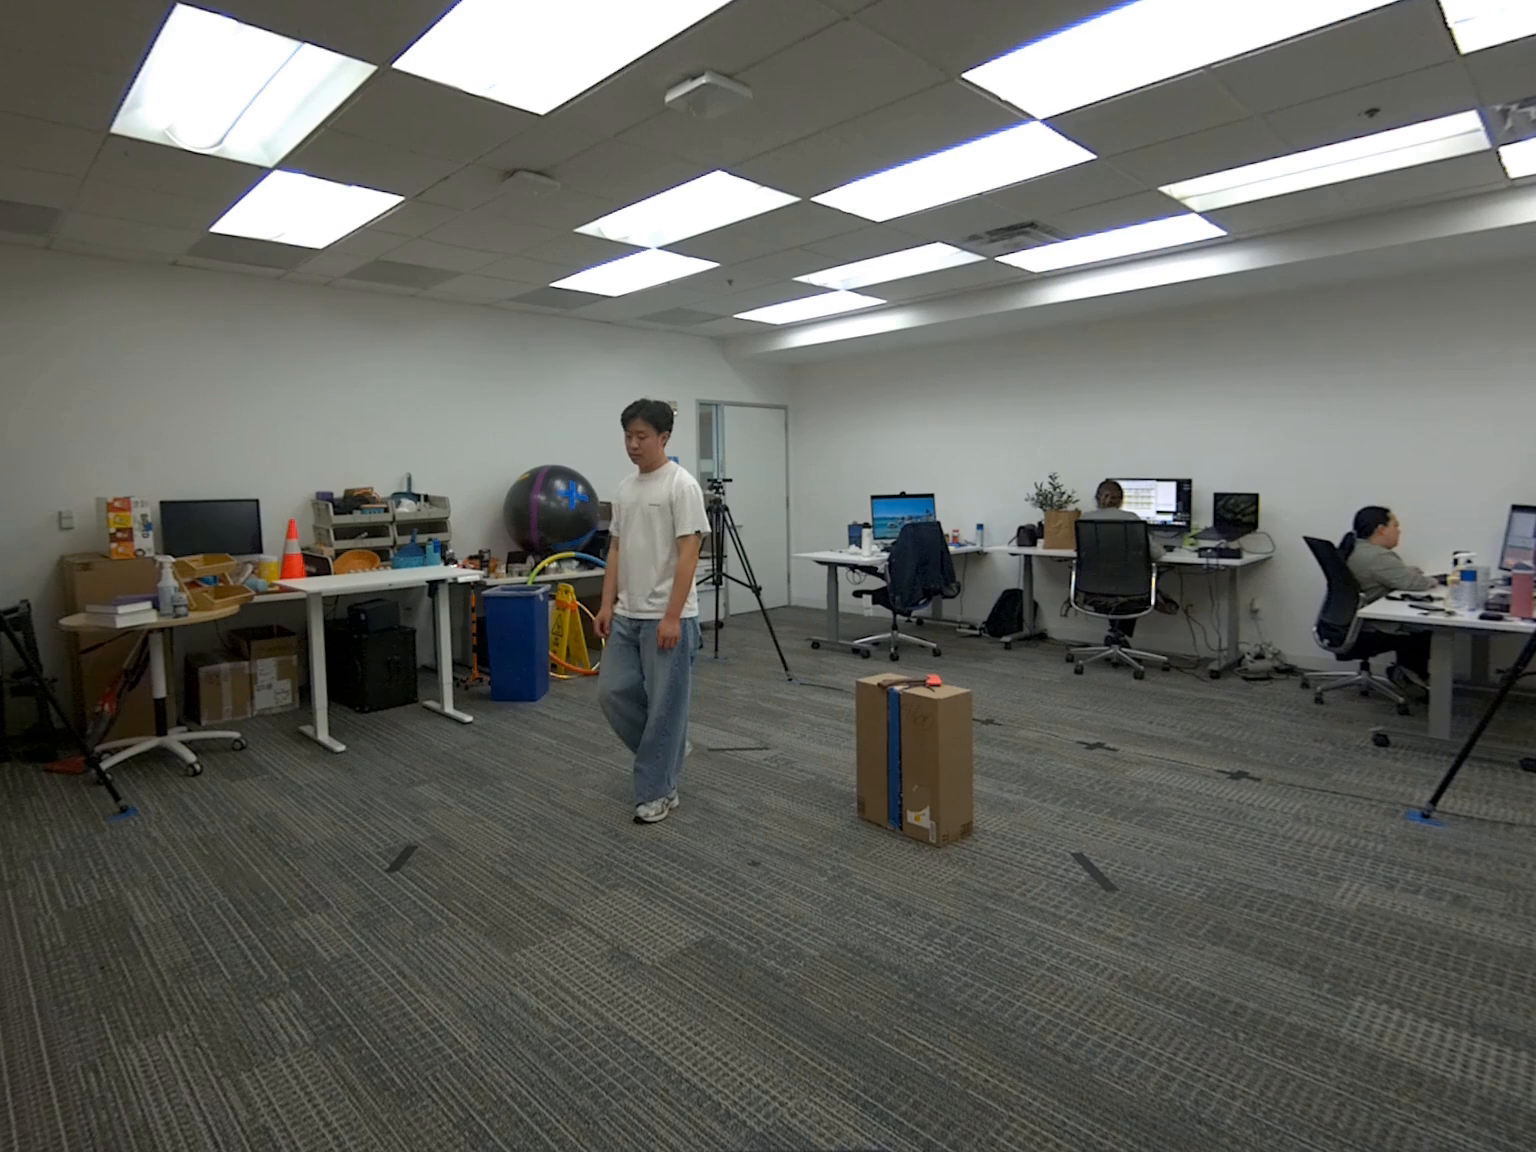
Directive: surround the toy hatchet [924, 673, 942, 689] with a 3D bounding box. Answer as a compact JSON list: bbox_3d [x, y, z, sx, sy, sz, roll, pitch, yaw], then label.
[{"bbox_3d":[0.572,0.422,3.384,0.264,0.029,0.135,-5,11,-29],"label":"toy hatchet"}]
